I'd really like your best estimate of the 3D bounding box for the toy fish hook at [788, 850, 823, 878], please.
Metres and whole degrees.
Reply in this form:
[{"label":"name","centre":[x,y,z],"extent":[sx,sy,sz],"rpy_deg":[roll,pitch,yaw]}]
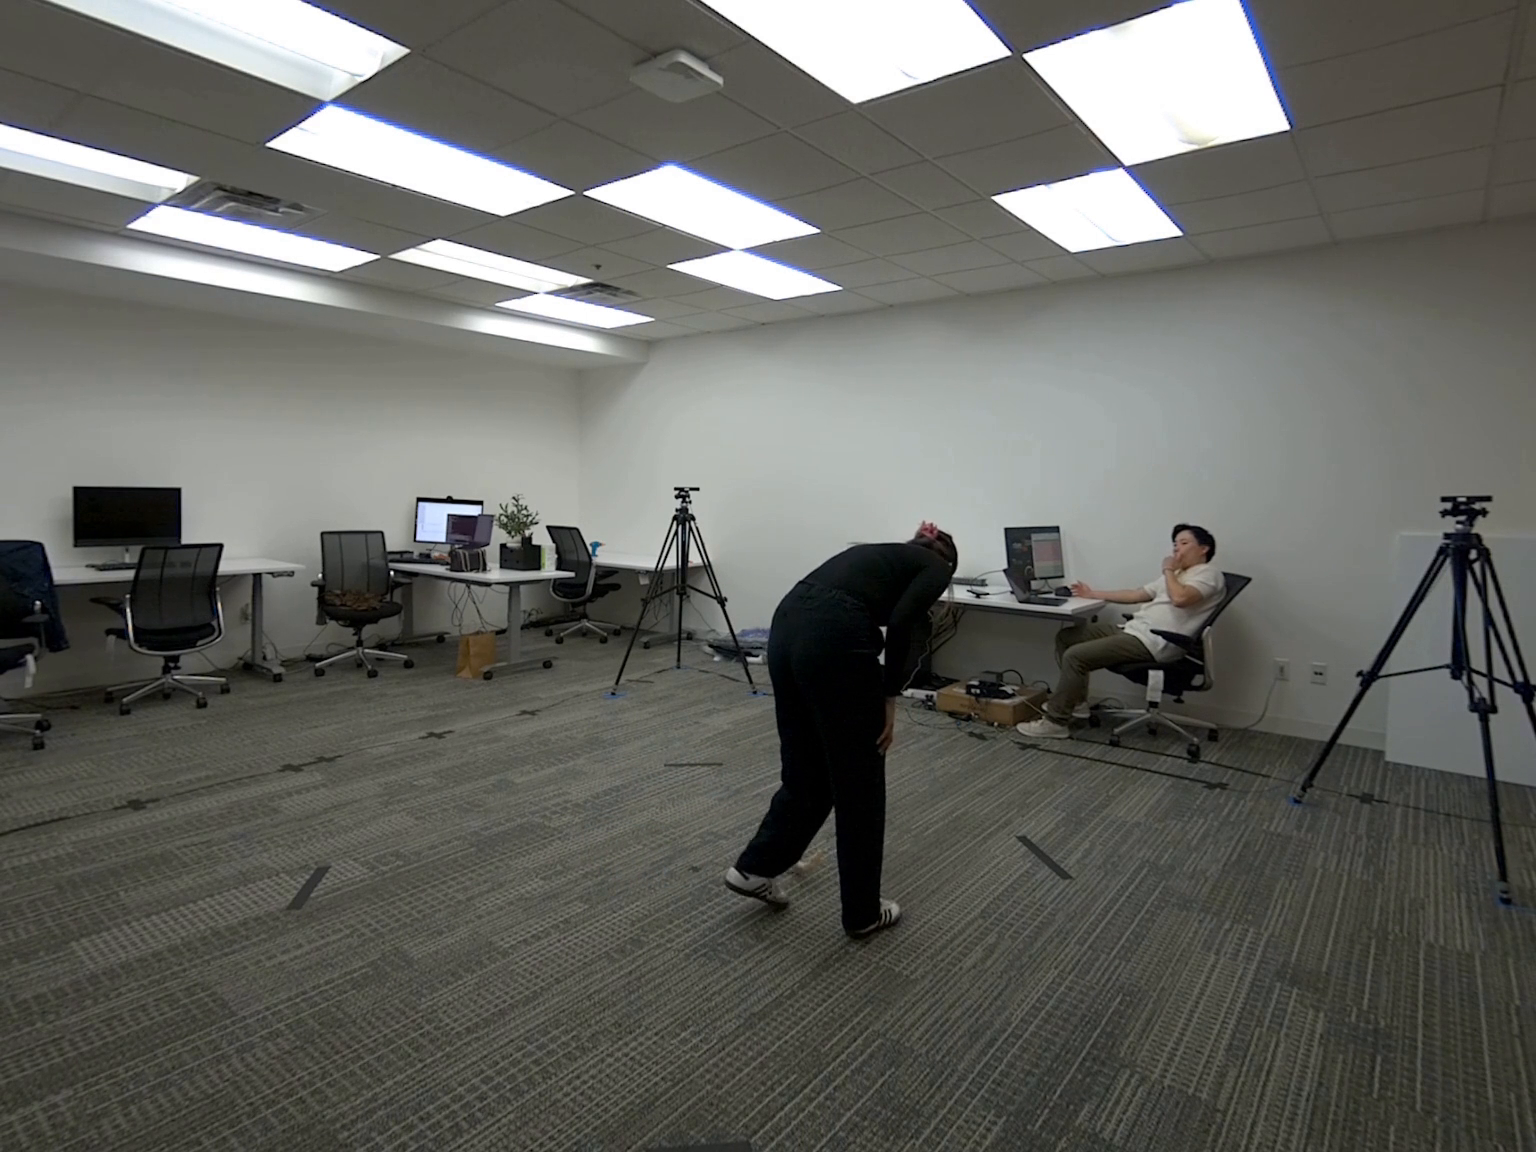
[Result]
[{"label":"toy fish hook","centre":[0.159,0.851,3.000],"extent":[0.047,0.501,0.234],"rpy_deg":[-3,44,-38]}]
